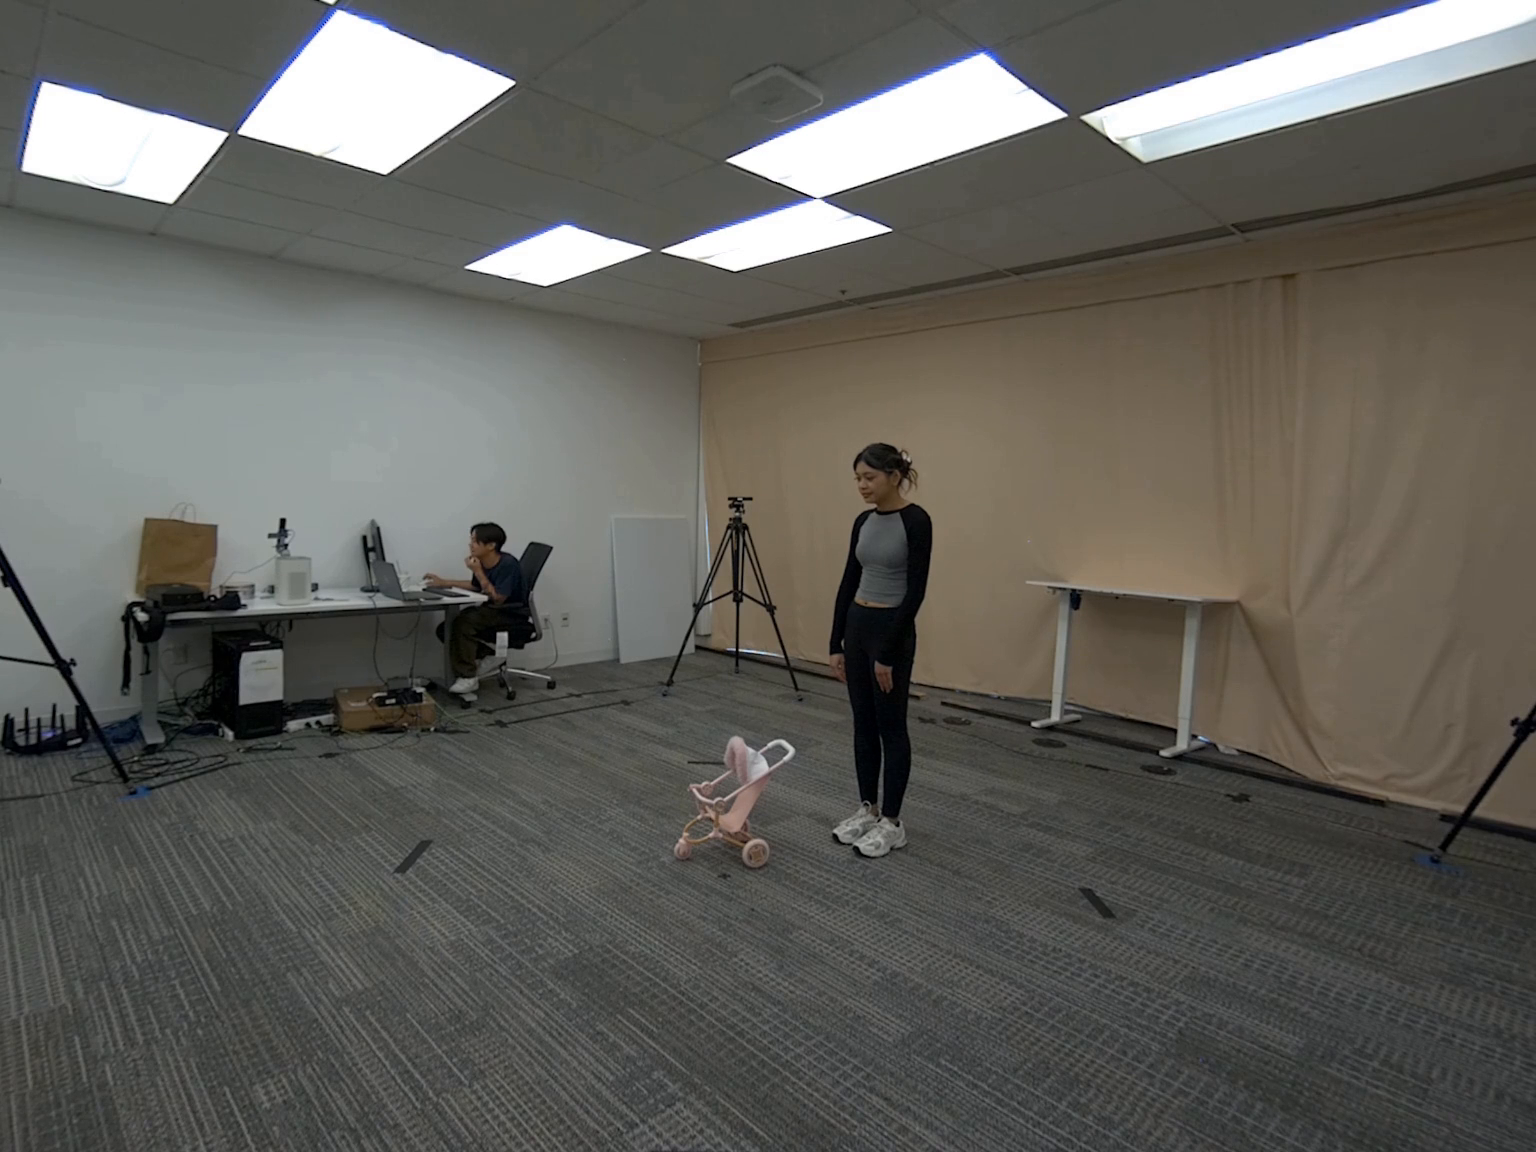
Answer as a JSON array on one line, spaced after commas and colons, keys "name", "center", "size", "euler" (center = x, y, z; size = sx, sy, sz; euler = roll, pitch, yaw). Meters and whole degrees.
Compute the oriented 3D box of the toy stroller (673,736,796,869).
[{"name": "toy stroller", "center": [-0.151, 0.866, 3.278], "size": [0.337, 0.535, 0.285], "euler": [17, -1, -13]}]
